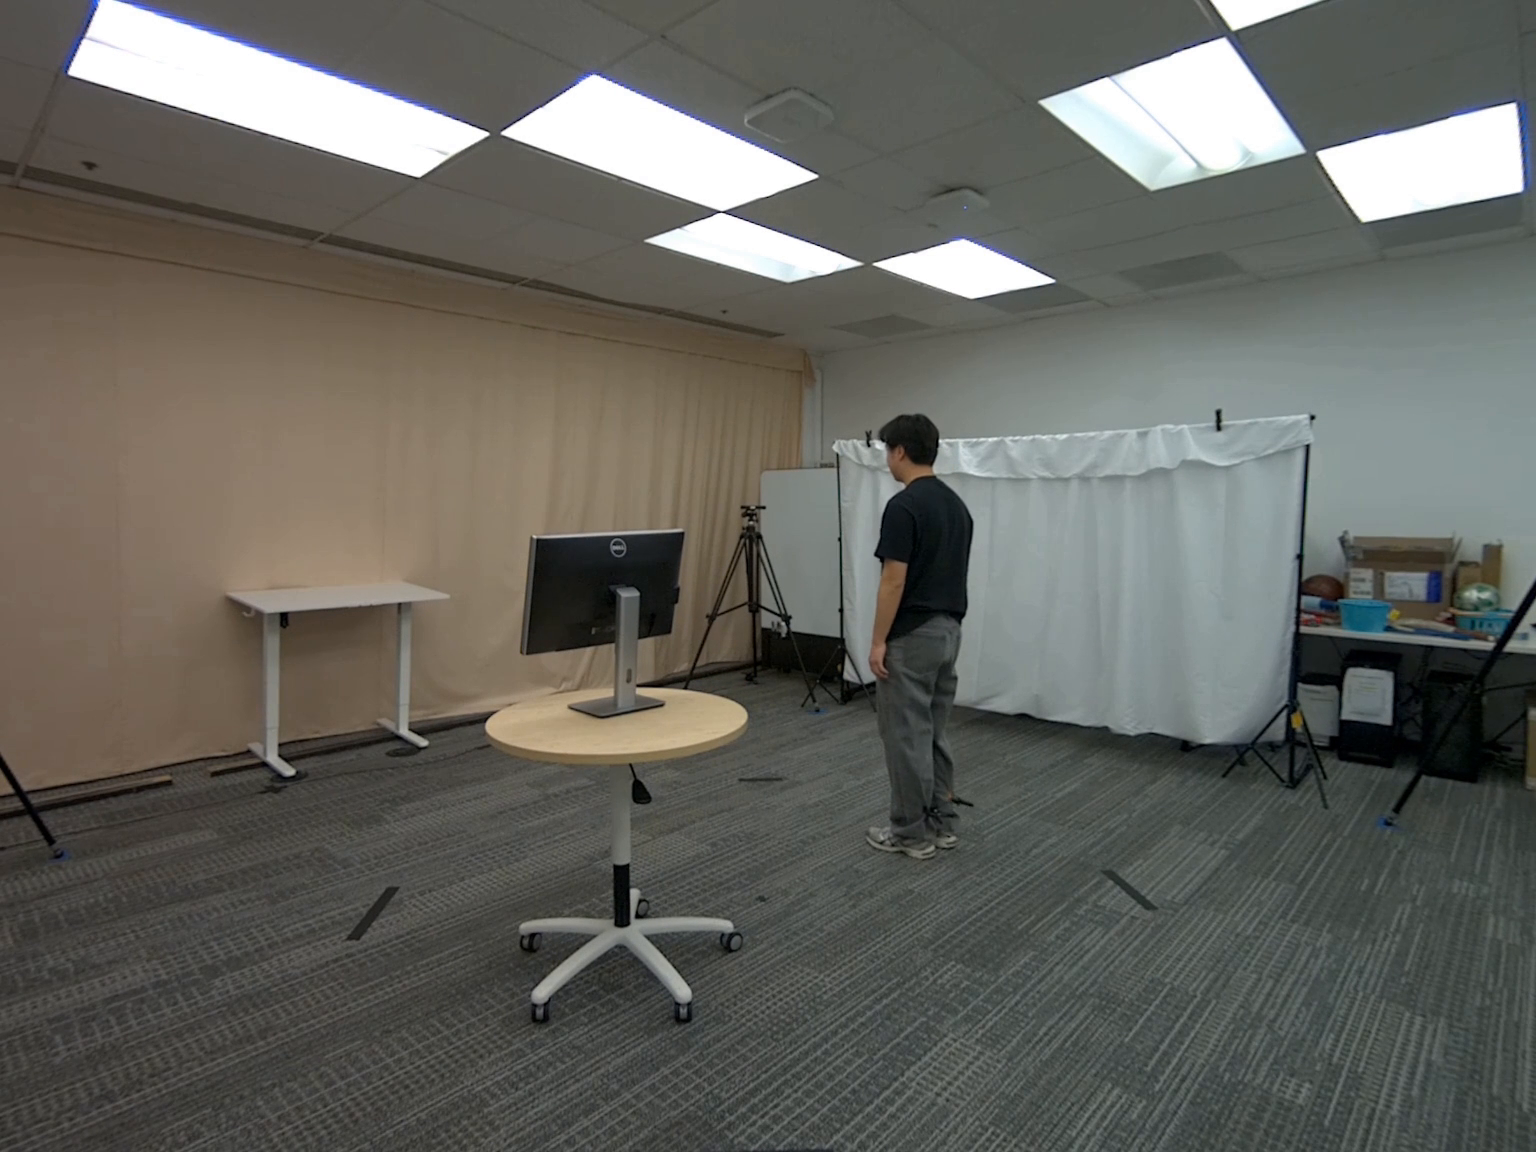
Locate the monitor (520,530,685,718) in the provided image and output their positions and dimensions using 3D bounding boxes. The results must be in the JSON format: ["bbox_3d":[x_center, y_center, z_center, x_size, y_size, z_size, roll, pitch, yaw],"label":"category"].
[{"bbox_3d":[-0.456,0.142,2.574,0.548,0.551,0.217,-4,11,-44],"label":"monitor"}]
